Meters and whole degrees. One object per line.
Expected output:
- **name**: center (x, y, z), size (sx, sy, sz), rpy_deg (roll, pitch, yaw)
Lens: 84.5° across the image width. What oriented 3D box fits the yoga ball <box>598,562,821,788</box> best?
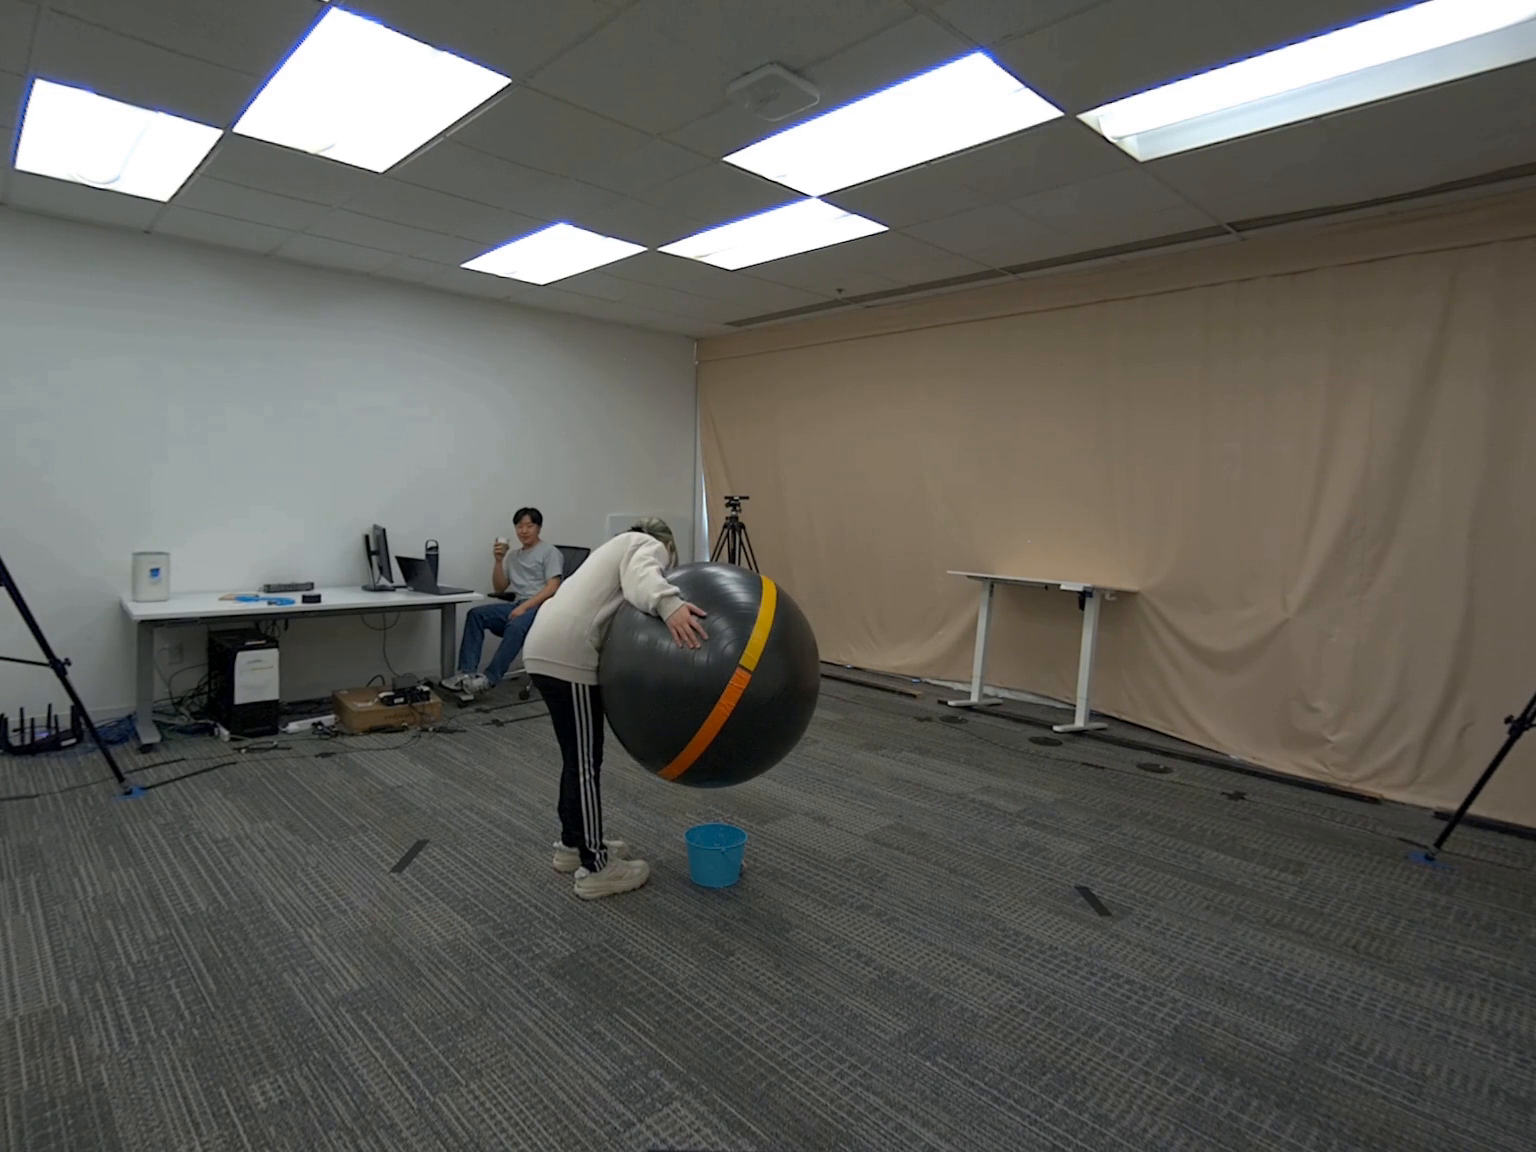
- **yoga ball**: center (-0.194, 0.345, 2.879), size (0.757, 0.756, 0.761), rpy_deg (1, 4, -1)
